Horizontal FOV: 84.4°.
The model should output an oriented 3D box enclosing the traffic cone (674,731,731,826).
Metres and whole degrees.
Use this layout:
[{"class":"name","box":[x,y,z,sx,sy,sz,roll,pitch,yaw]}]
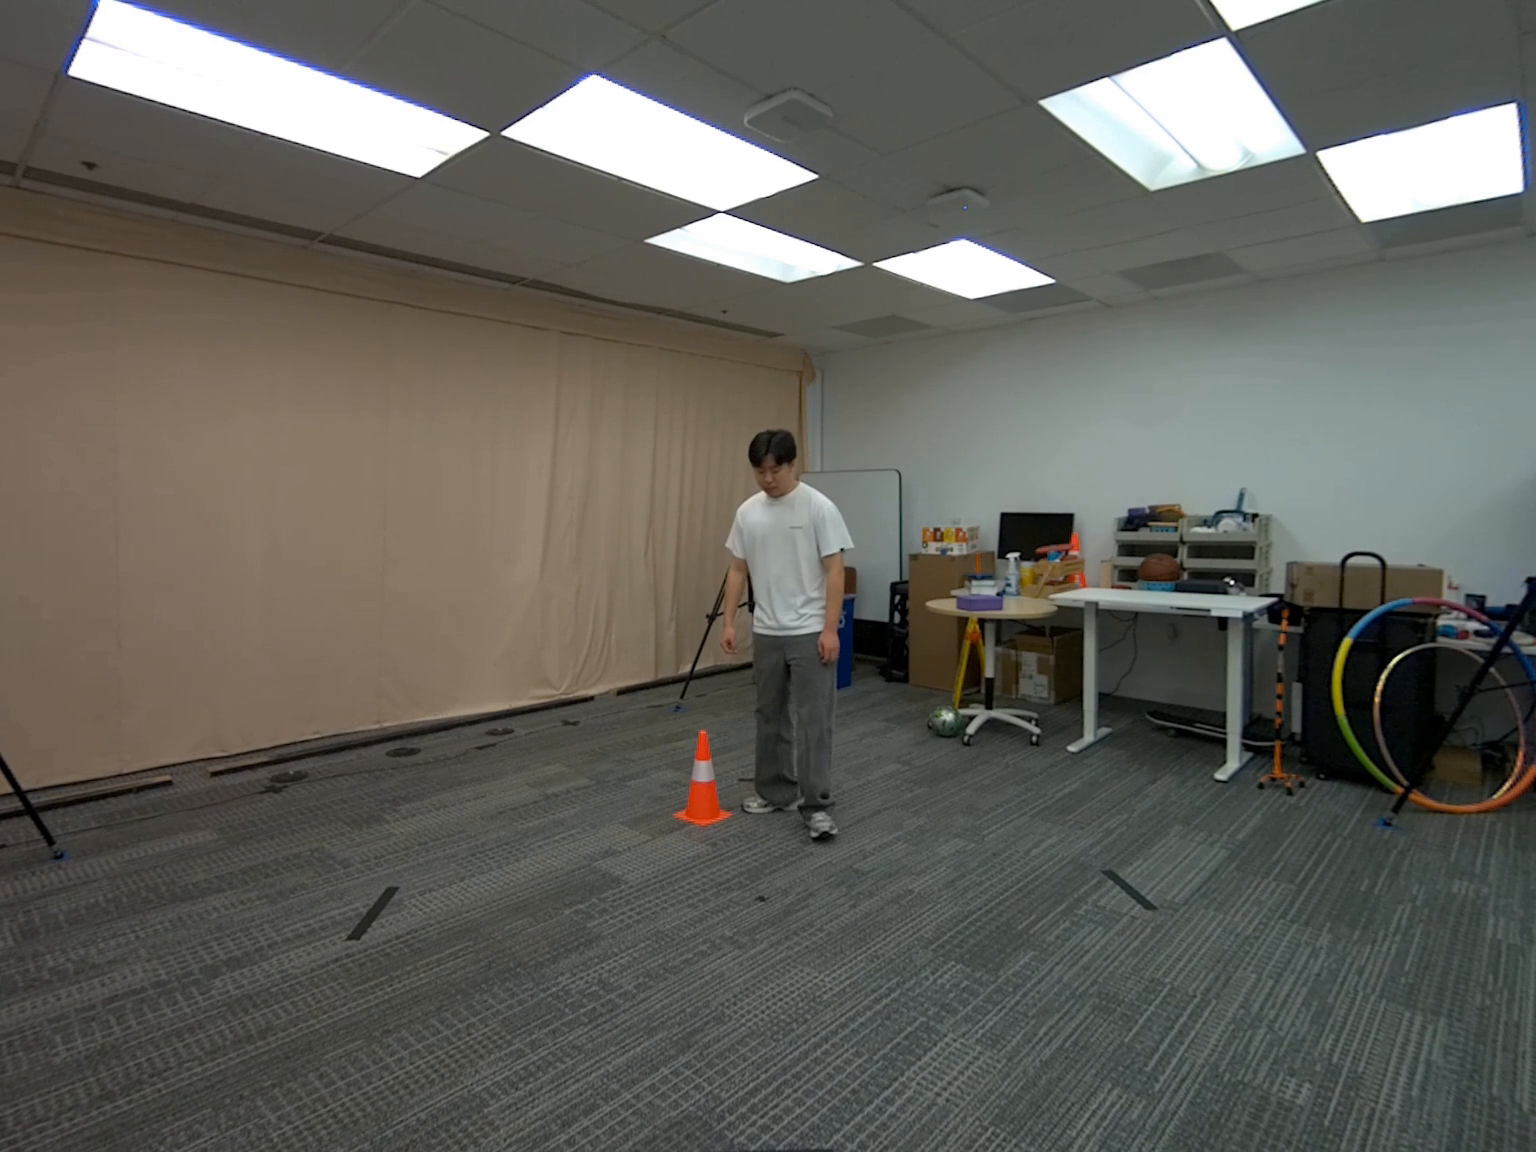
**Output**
[{"class":"traffic cone","box":[-0.289,0.899,3.812,0.197,0.383,0.211,0,2,-38]}]
